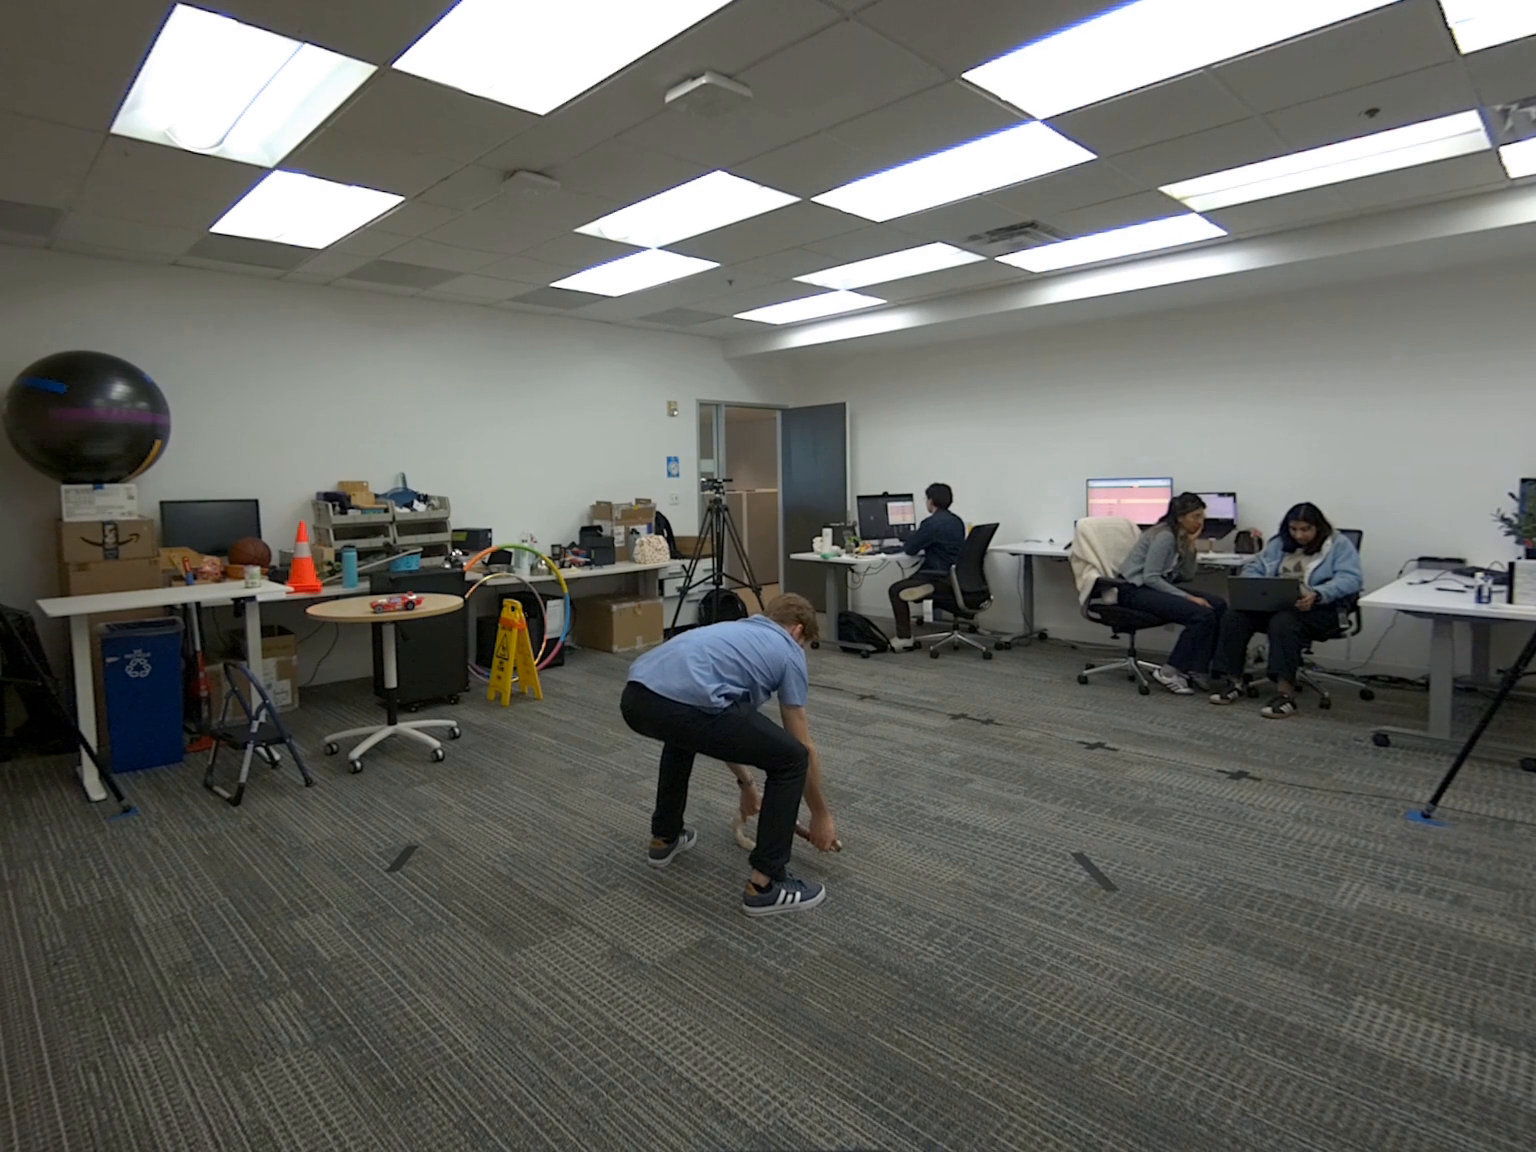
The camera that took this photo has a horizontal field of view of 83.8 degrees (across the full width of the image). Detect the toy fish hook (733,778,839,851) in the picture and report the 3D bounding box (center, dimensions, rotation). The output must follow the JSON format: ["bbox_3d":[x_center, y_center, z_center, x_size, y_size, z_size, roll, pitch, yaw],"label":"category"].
[{"bbox_3d":[0.056,0.970,3.177,0.523,0.225,0.046,11,-31,48],"label":"toy fish hook"}]
